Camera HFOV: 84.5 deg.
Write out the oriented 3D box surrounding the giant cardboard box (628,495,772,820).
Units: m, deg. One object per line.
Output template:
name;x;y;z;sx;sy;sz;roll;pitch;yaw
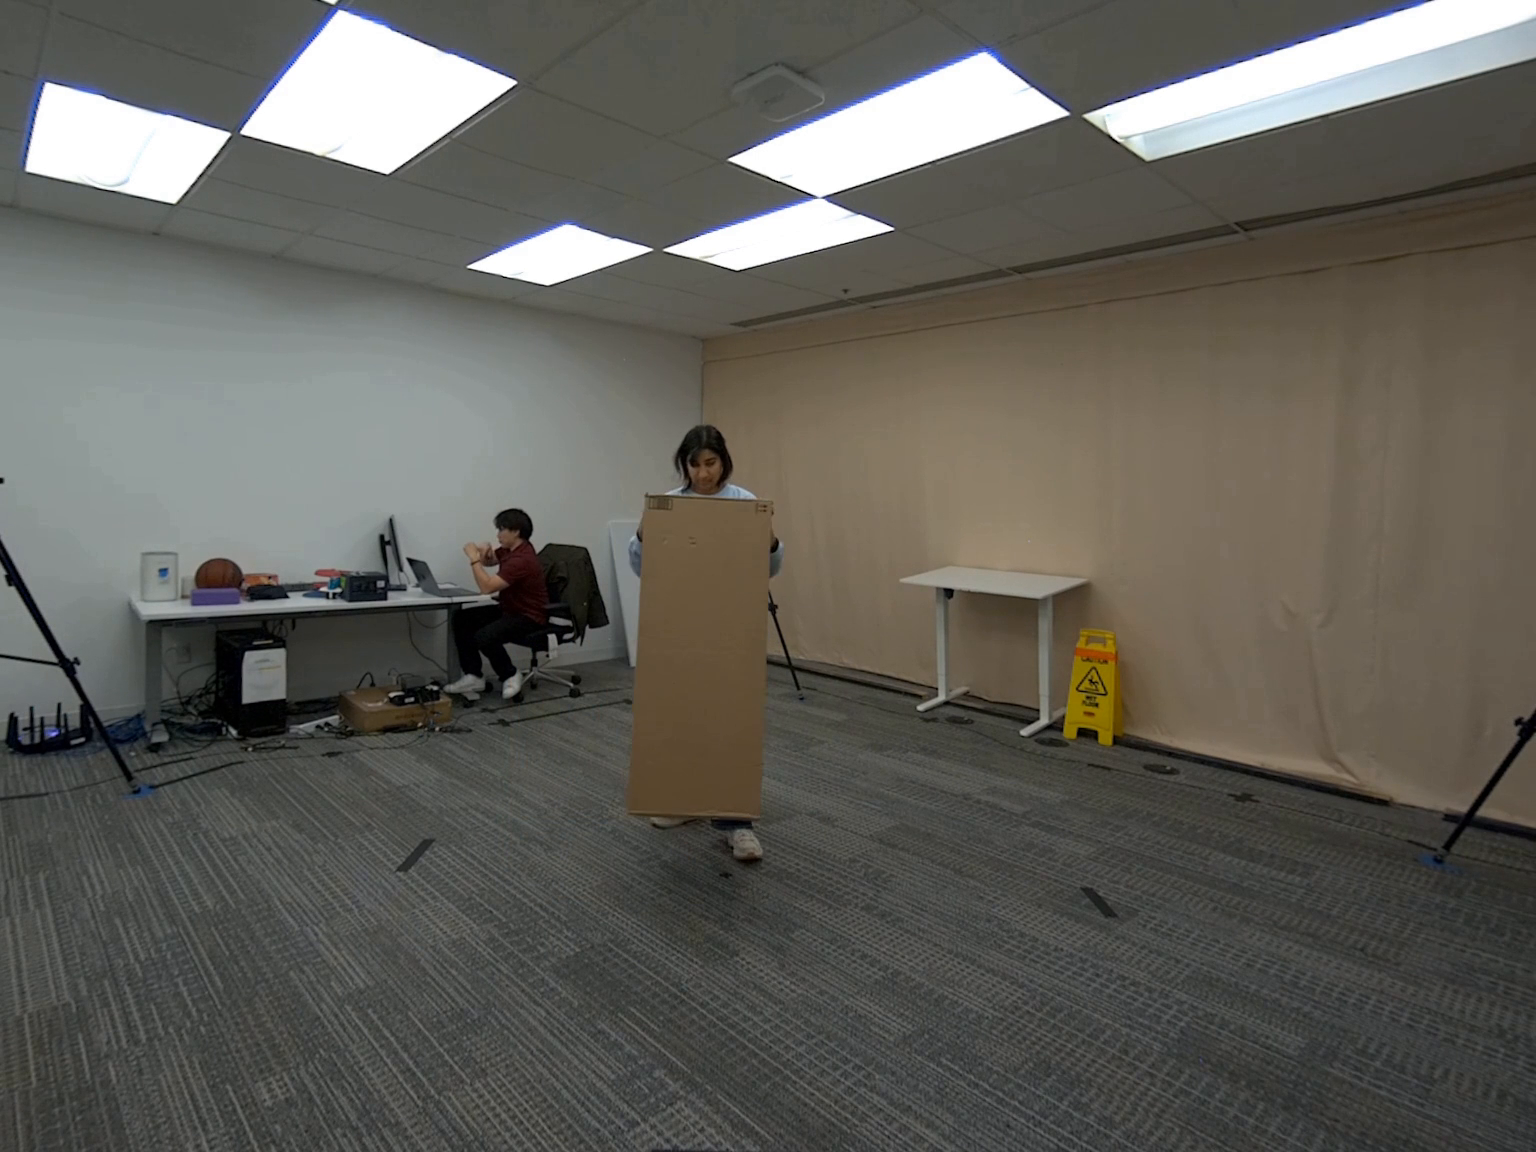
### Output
giant cardboard box;-0.242;0.278;2.966;0.447;1.032;0.581;3;-6;-1
